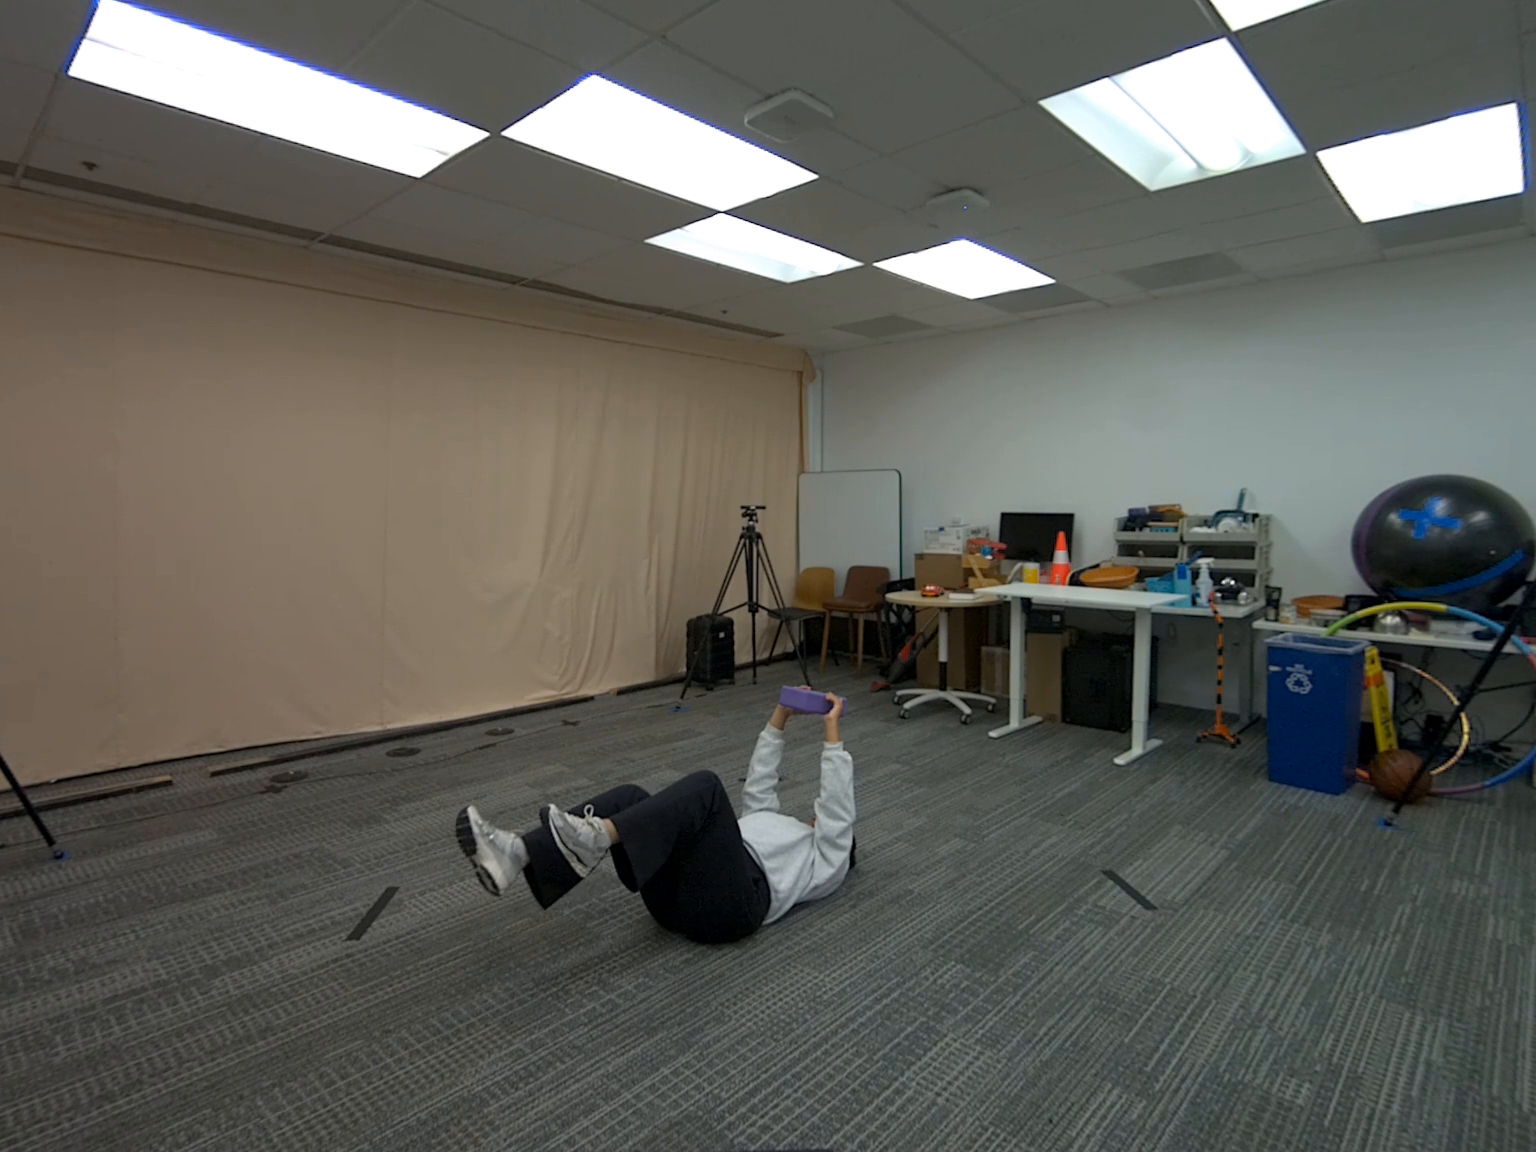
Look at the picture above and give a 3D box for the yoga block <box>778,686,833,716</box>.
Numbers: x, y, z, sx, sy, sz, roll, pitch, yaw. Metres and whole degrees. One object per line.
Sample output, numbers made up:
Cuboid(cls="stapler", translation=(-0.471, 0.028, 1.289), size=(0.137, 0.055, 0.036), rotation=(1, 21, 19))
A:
Cuboid(cls="yoga block", translation=(0.182, 0.481, 3.219), size=(0.154, 0.076, 0.221), rotation=(7, -6, 44))
